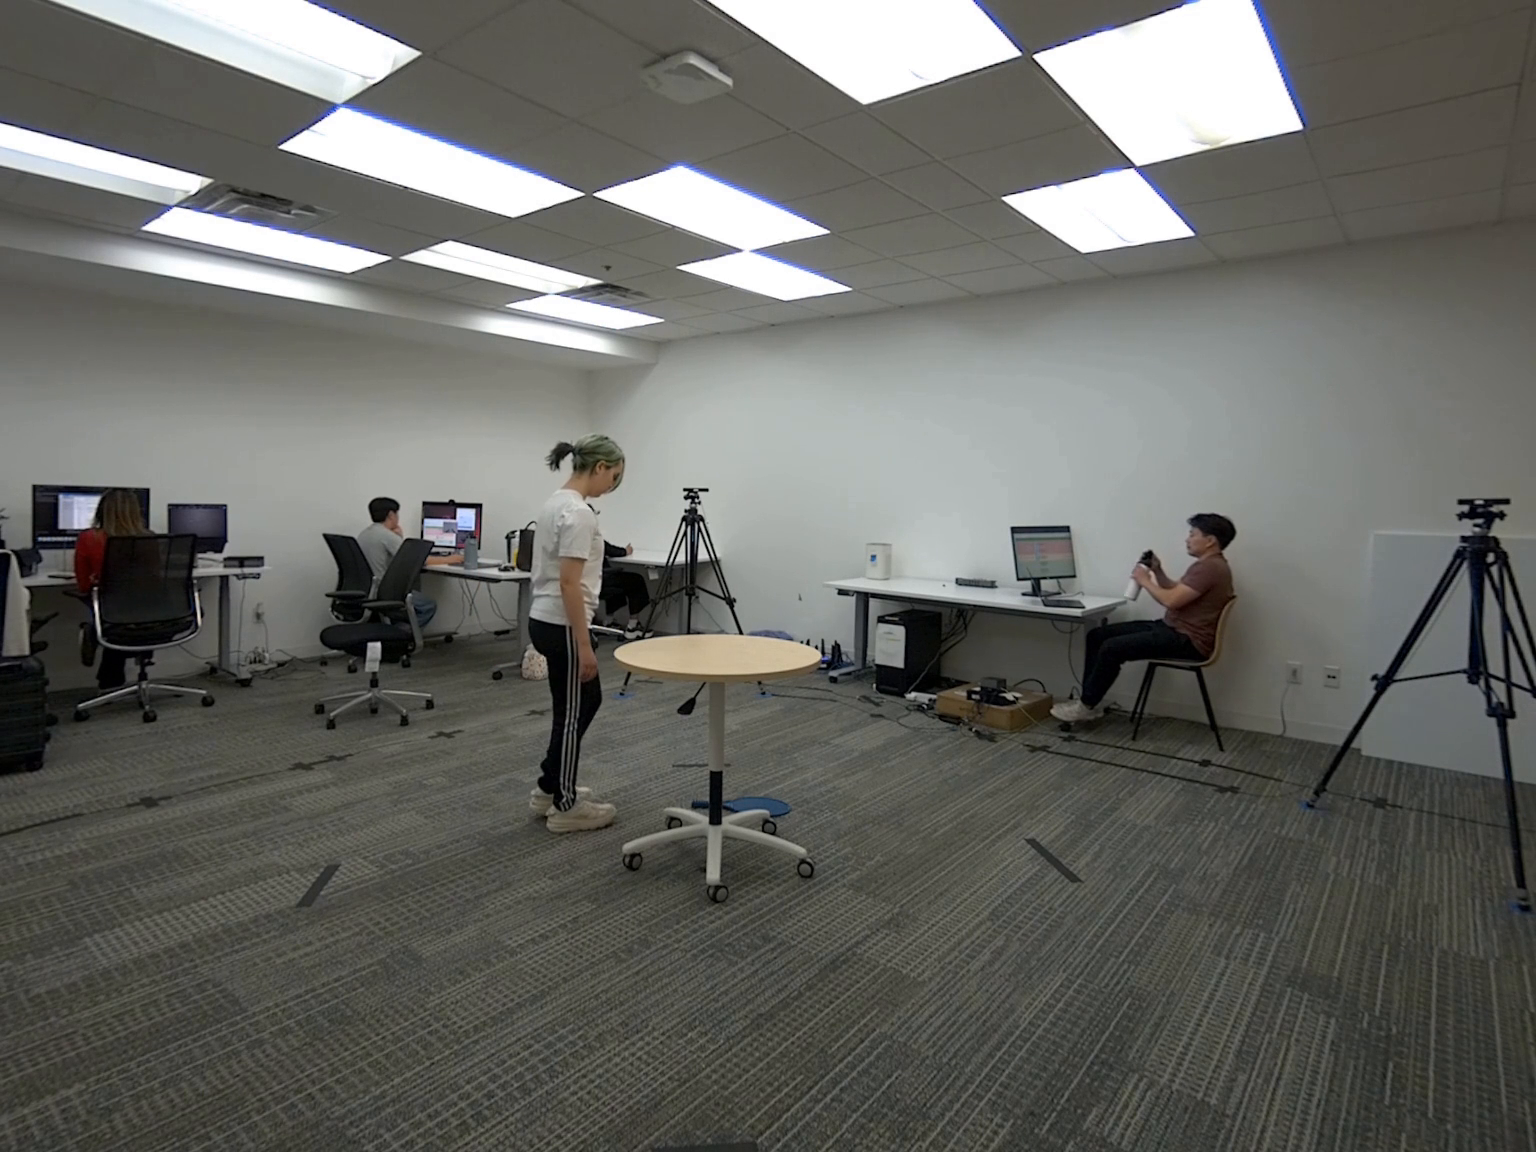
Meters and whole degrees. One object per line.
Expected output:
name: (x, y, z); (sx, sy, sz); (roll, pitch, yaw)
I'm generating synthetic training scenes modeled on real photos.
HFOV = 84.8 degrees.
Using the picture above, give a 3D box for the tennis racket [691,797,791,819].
tennis racket: (-0.122, 1.002, 3.712); (0.433, 0.031, 0.215); (3, 6, -1)
